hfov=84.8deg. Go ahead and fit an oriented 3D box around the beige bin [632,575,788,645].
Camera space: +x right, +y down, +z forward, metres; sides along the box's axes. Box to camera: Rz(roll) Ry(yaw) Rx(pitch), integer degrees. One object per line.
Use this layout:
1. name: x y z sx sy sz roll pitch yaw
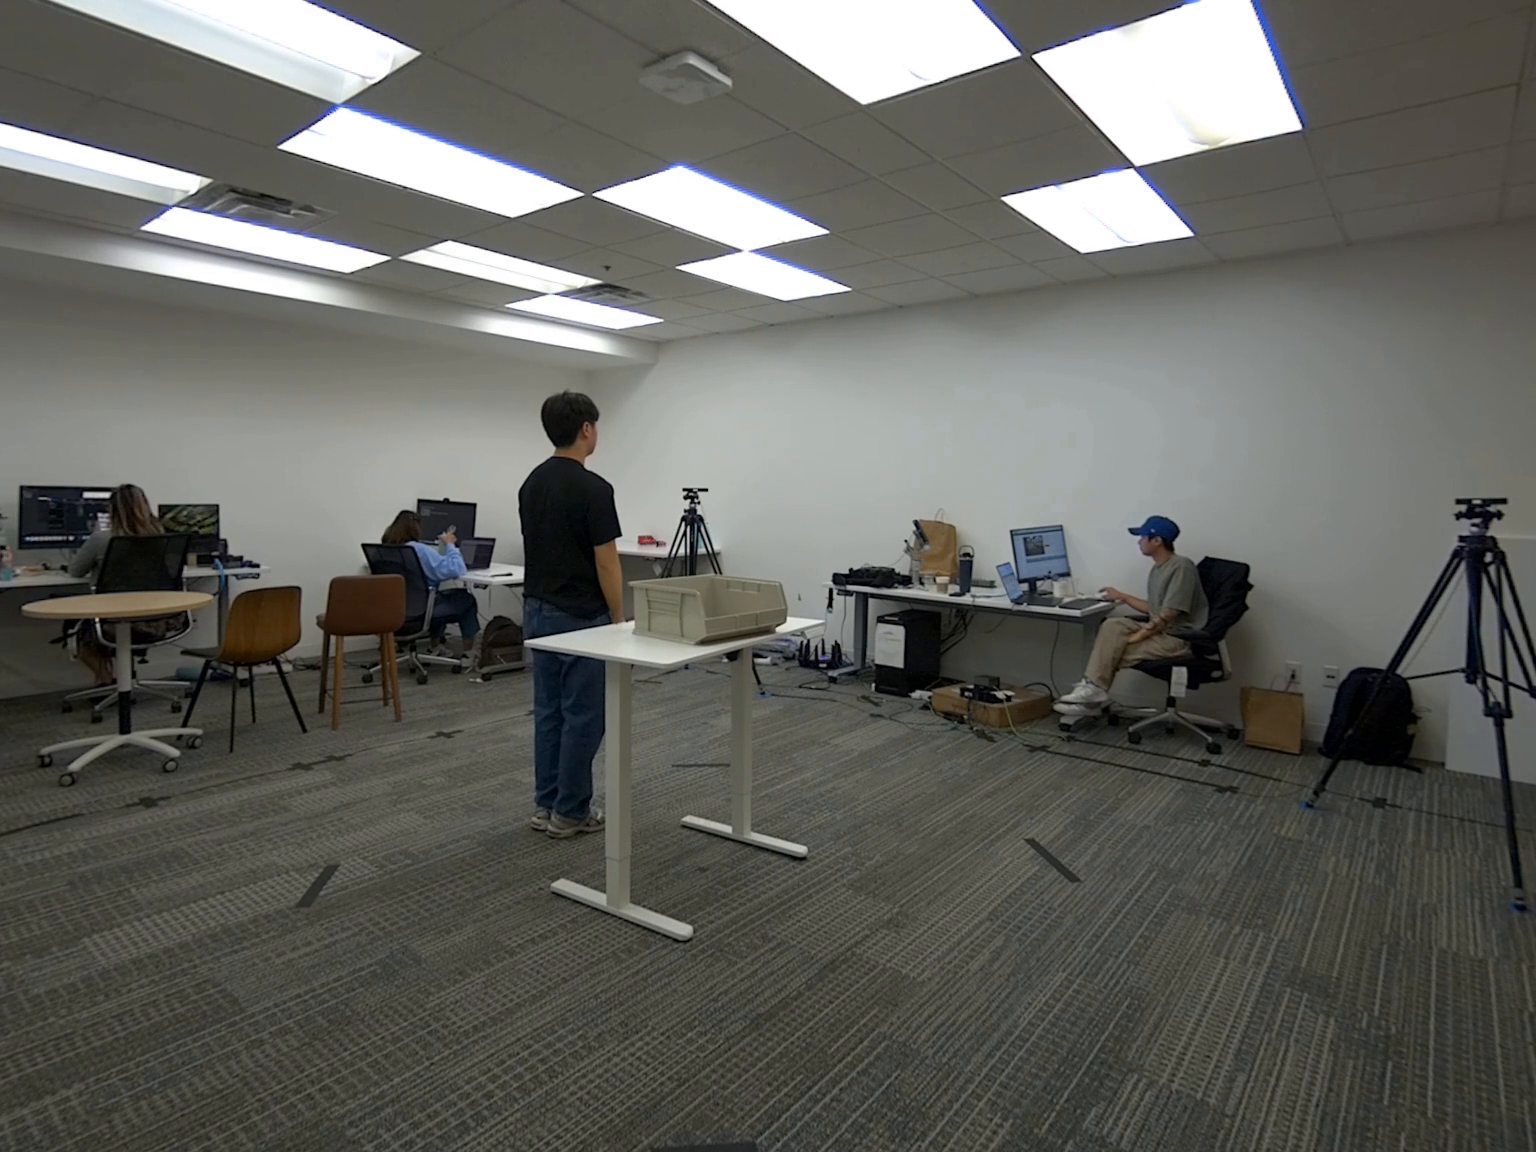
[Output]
1. beige bin: -0.215 0.109 2.980 0.390 0.188 0.410 3 6 42
